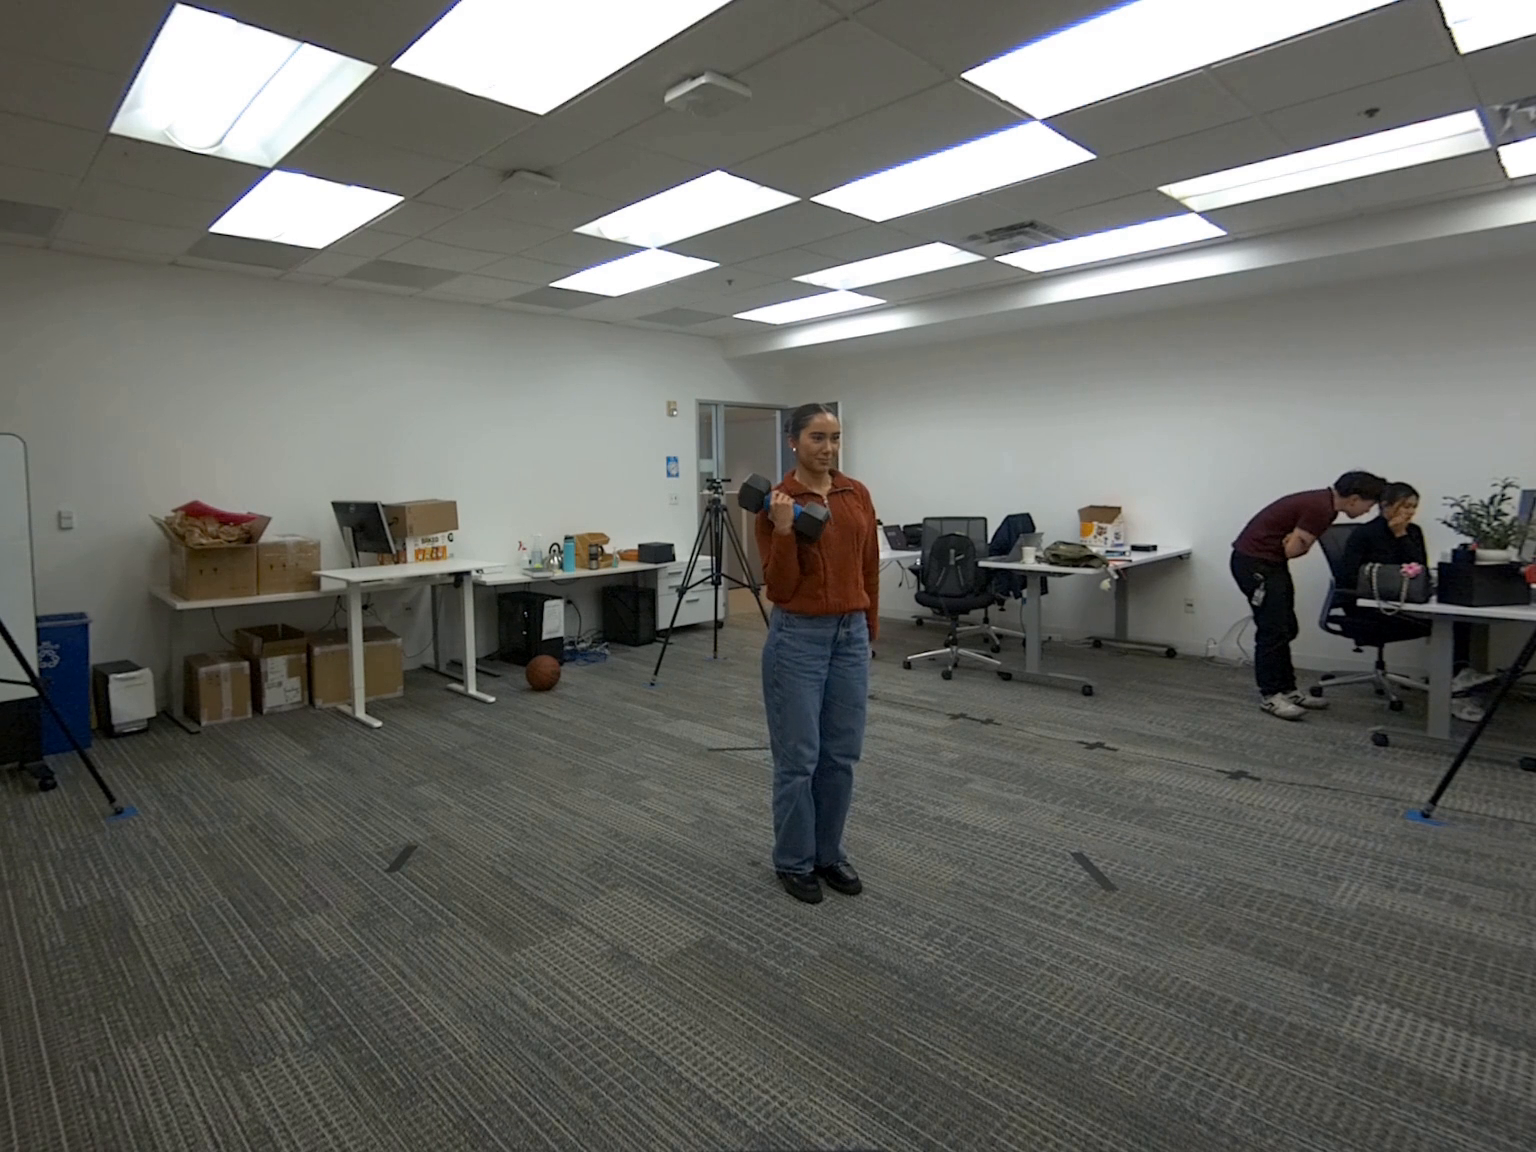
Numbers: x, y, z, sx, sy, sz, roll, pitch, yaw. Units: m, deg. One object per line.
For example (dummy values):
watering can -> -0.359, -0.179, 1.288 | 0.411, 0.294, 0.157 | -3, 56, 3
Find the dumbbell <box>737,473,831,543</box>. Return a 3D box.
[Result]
dumbbell -> 0.050, -0.225, 2.756 | 0.298, 0.122, 0.108 | 26, 19, 12
